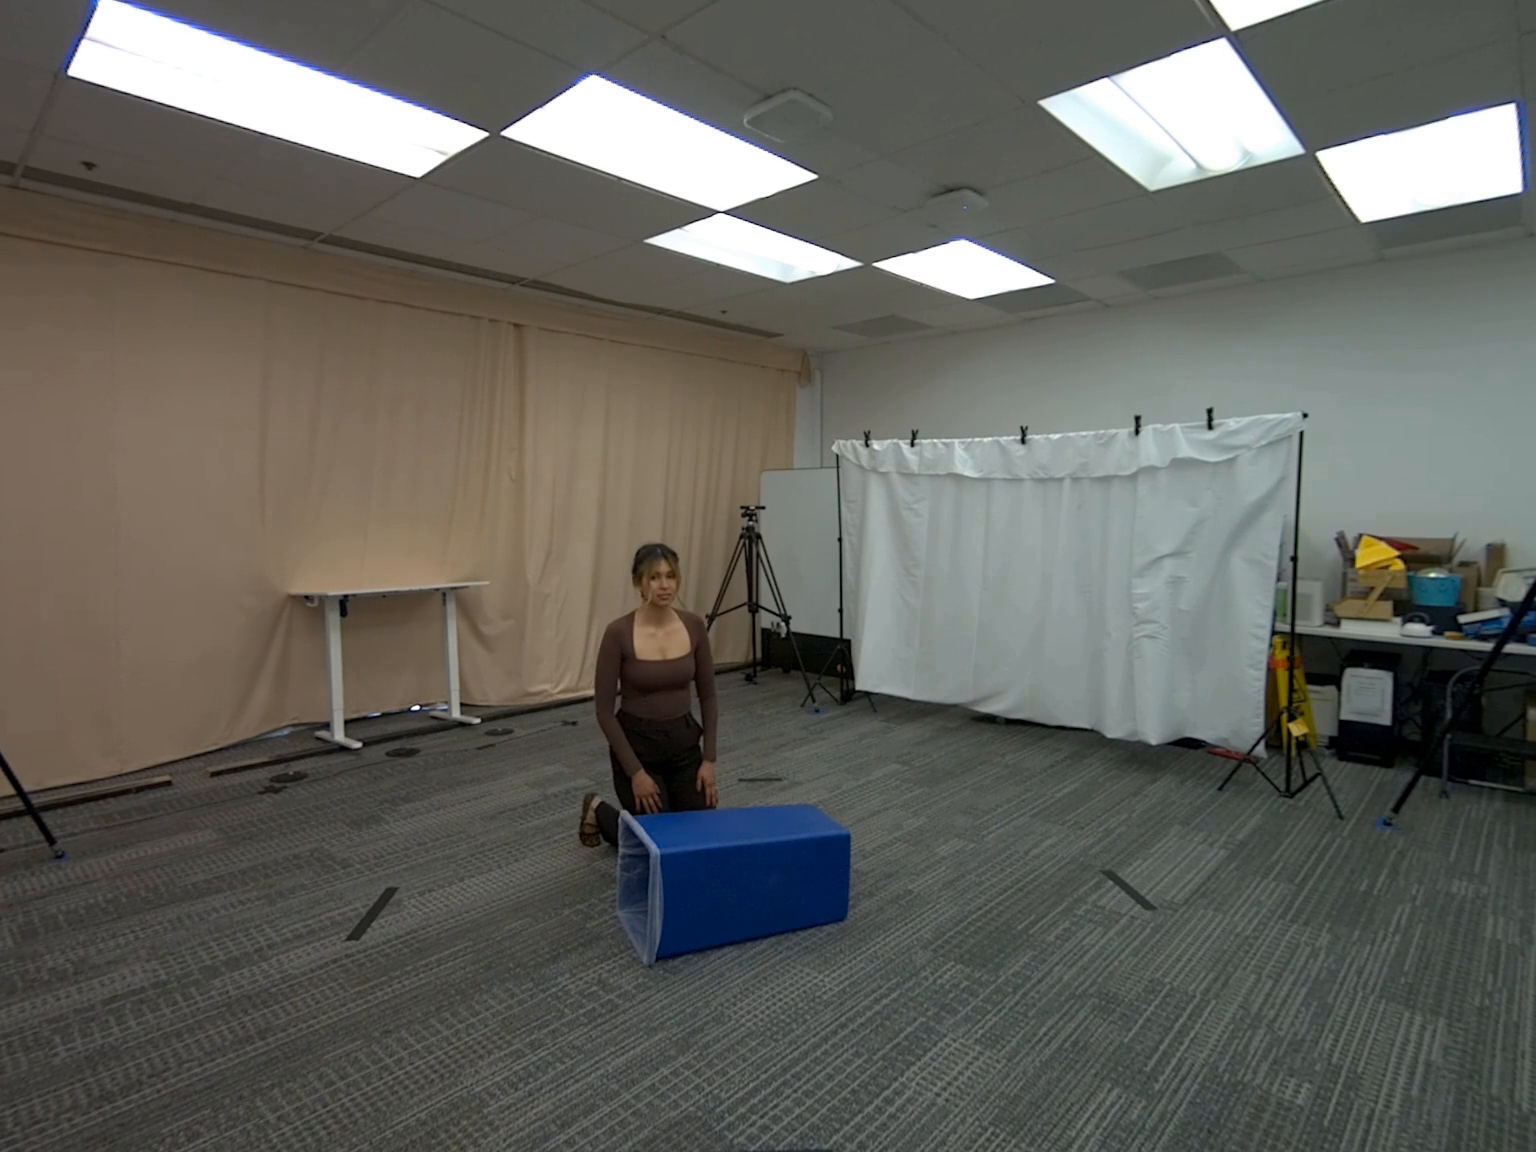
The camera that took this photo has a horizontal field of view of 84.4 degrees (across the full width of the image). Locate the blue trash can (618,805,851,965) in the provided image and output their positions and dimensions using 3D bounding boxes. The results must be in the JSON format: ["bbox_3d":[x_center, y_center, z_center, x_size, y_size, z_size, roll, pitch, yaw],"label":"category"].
[{"bbox_3d":[-0.103,0.988,2.813,0.698,0.377,0.383,0,3,-22],"label":"blue trash can"}]
